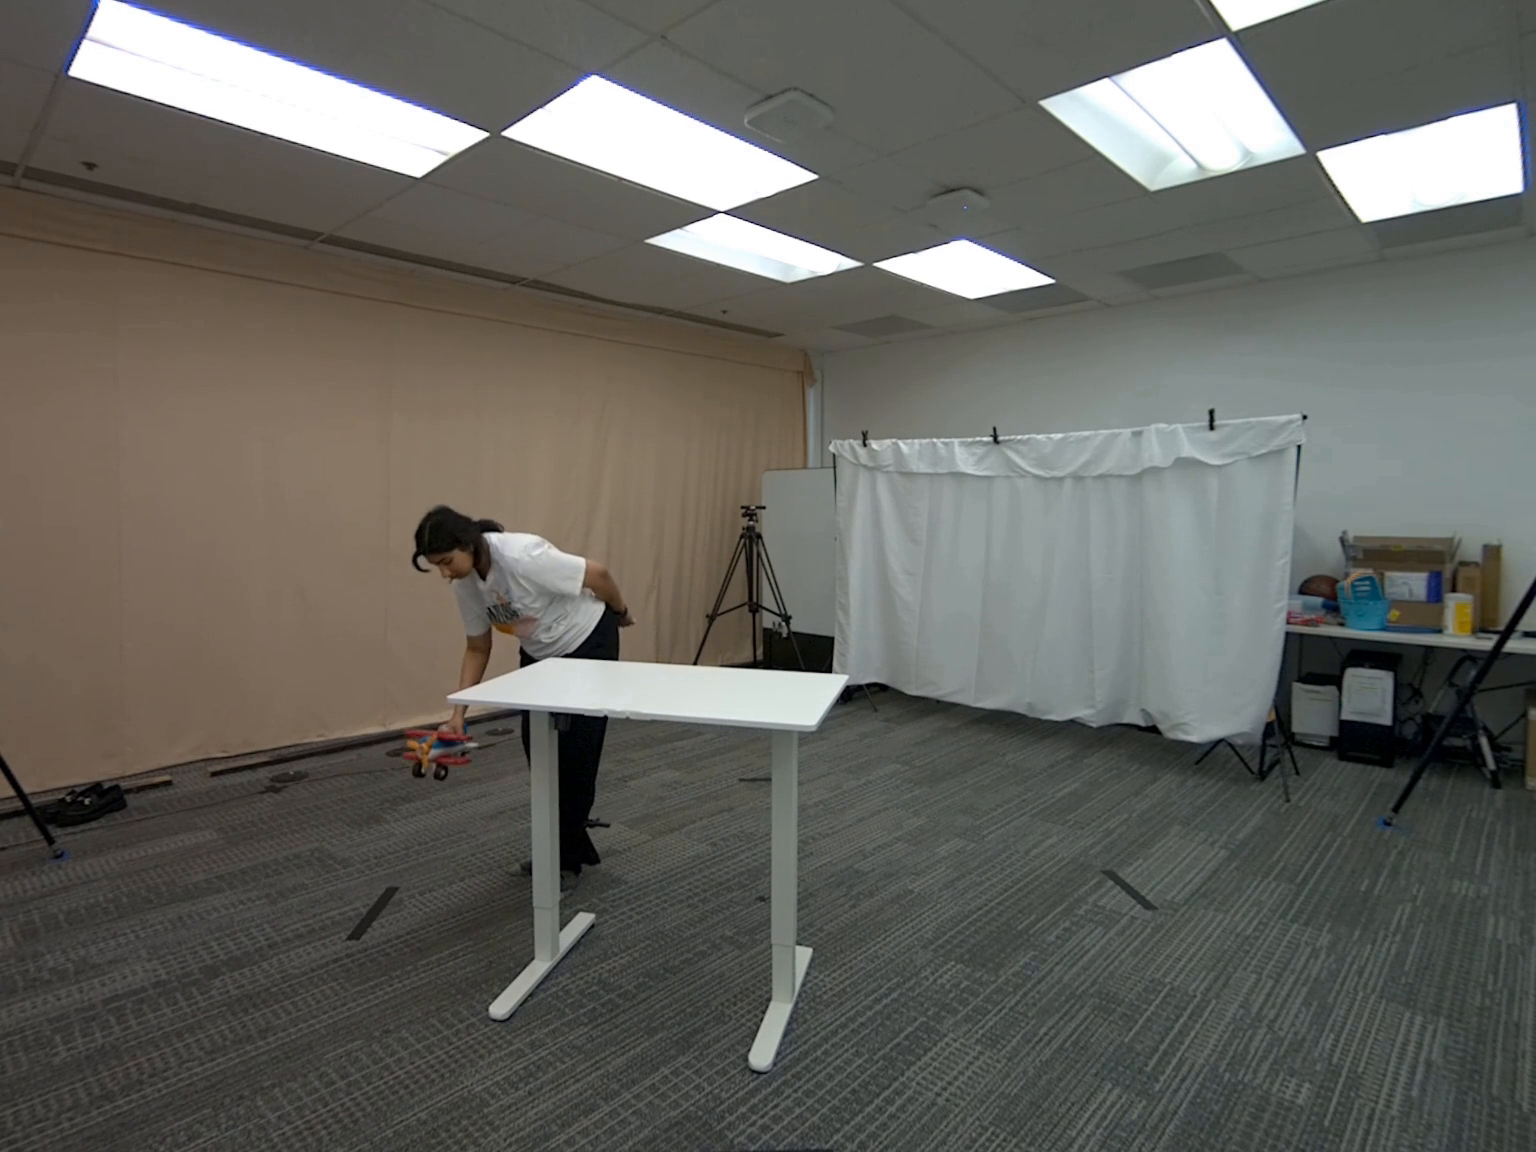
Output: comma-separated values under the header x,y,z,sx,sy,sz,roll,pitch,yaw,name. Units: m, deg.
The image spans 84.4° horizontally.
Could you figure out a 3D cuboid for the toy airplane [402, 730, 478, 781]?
x,y,z,sx,sy,sz,roll,pitch,yaw,name
-1.147,0.594,2.940,0.249,0.155,0.263,-6,9,-9,toy airplane
